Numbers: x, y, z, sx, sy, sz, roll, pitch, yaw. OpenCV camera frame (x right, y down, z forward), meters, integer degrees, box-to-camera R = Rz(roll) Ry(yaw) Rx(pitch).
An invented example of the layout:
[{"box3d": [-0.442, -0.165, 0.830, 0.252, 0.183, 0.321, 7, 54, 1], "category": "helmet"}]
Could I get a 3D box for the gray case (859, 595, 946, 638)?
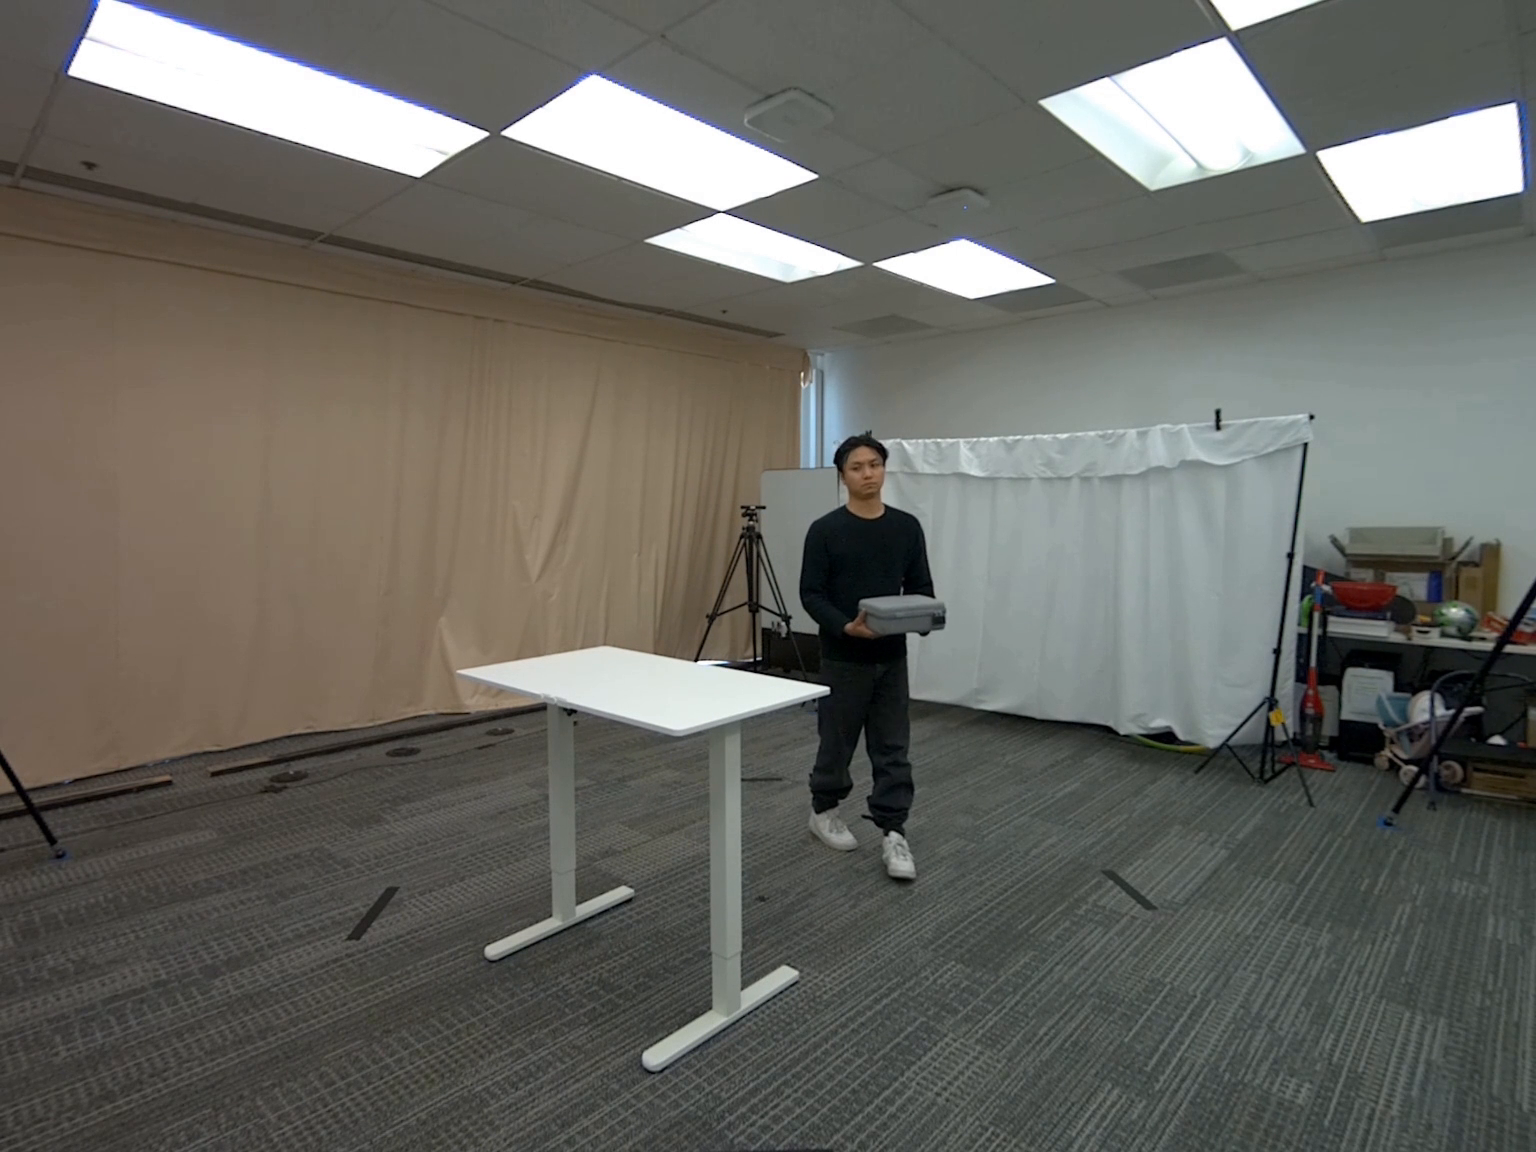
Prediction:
[{"box3d": [0.468, 0.139, 3.058, 0.260, 0.104, 0.258, -5, 6, -2], "category": "gray case"}]
